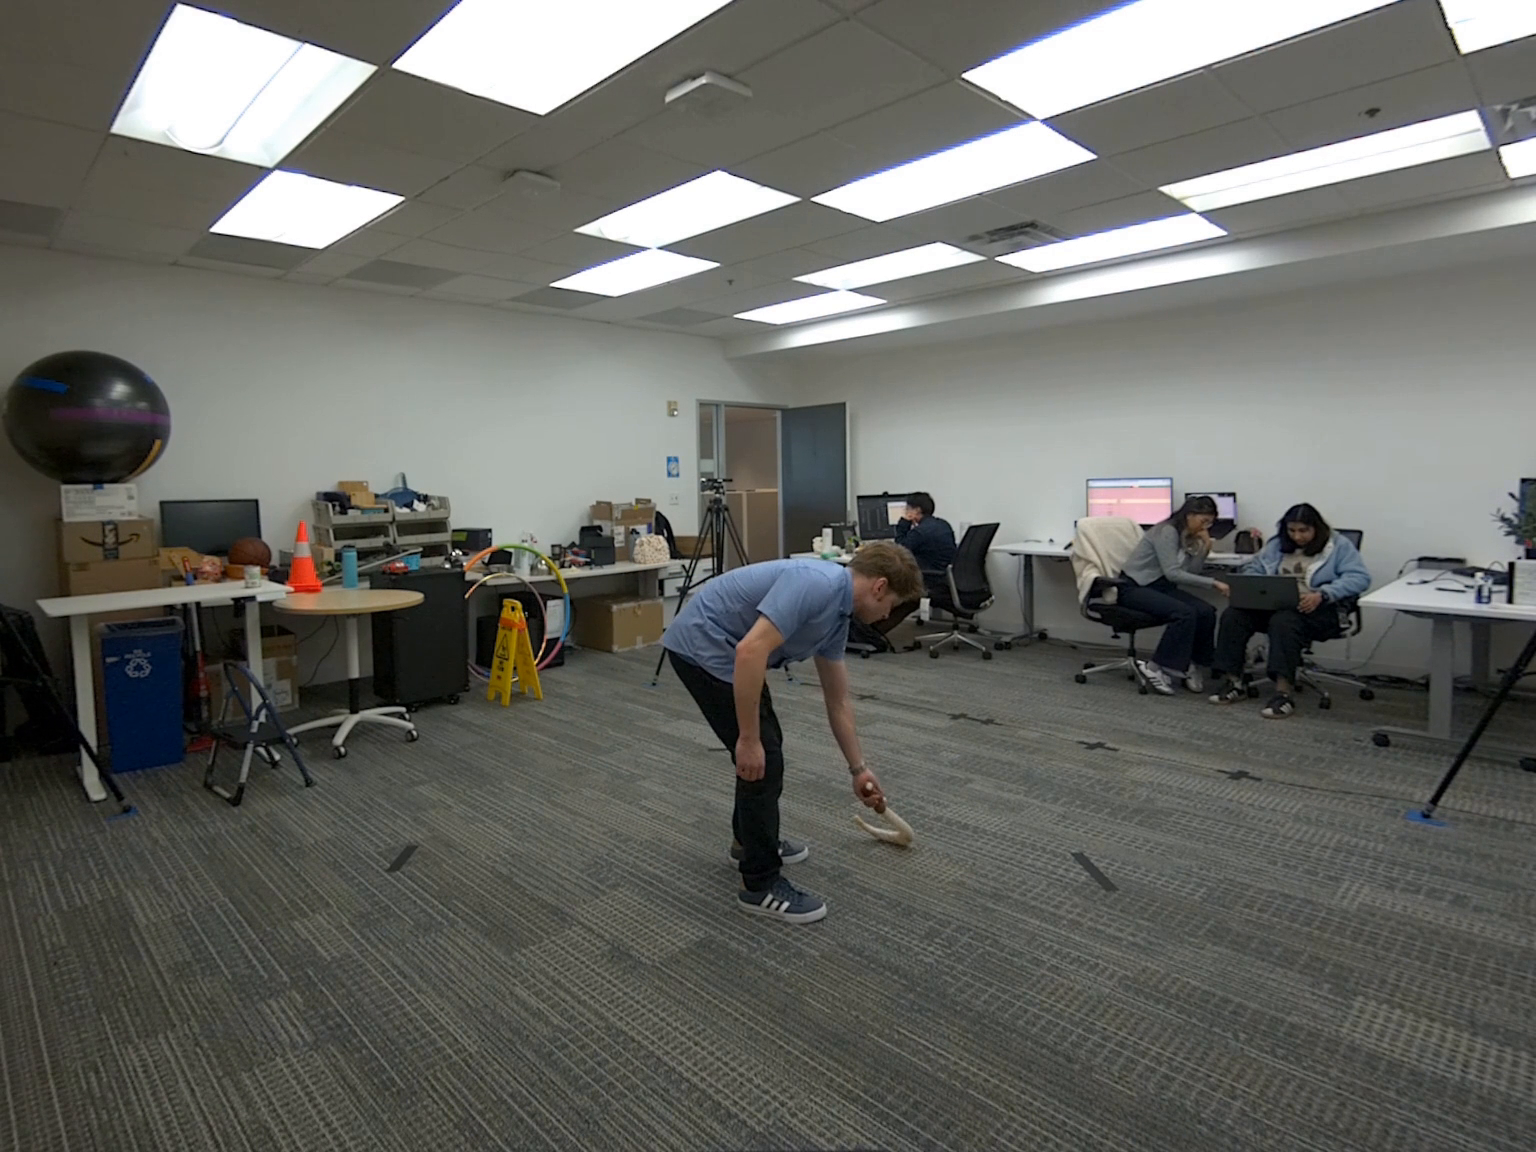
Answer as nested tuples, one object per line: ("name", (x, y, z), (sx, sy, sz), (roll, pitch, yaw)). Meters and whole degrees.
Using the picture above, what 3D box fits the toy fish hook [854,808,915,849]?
("toy fish hook", (0.382, 0.864, 3.114), (0.230, 0.049, 0.488), (-2, -41, 27))
